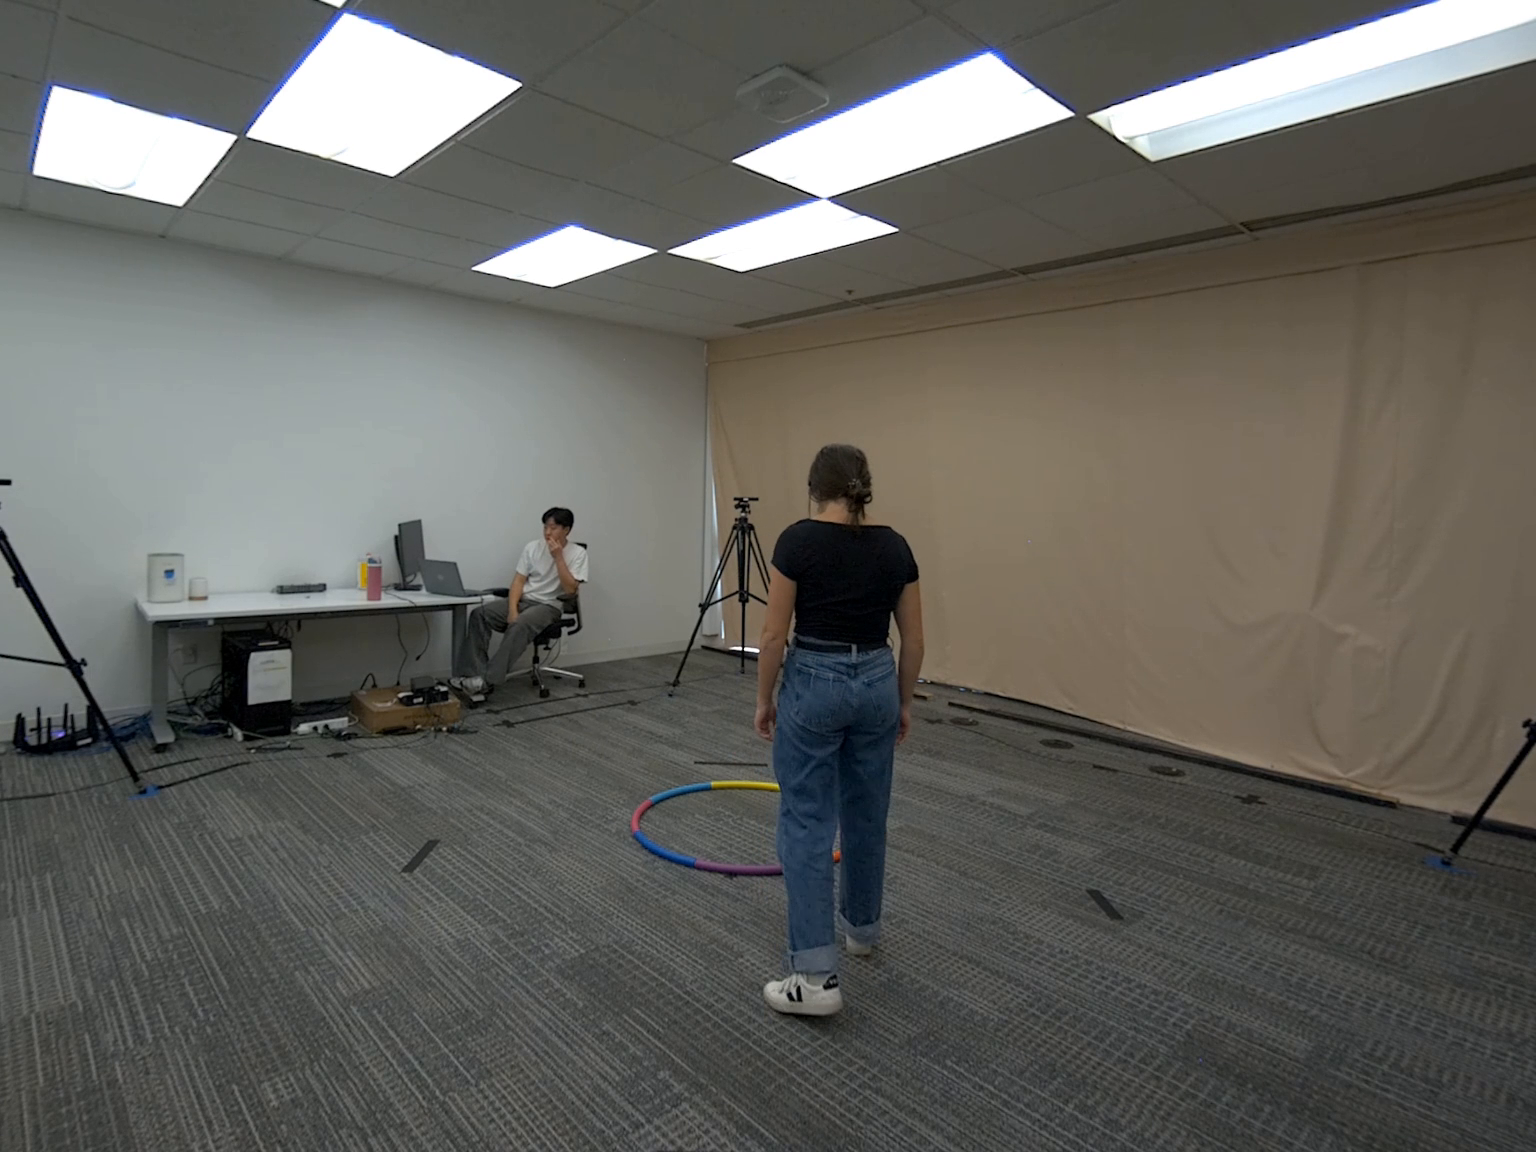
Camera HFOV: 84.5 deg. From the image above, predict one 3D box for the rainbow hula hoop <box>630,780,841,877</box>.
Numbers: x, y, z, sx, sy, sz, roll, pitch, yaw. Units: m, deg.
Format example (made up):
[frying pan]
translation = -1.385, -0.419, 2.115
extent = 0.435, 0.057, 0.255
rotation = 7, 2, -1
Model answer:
[rainbow hula hoop]
translation = -0.098, 1.039, 3.585
extent = 0.978, 0.035, 0.982
rotation = 1, 5, -1
